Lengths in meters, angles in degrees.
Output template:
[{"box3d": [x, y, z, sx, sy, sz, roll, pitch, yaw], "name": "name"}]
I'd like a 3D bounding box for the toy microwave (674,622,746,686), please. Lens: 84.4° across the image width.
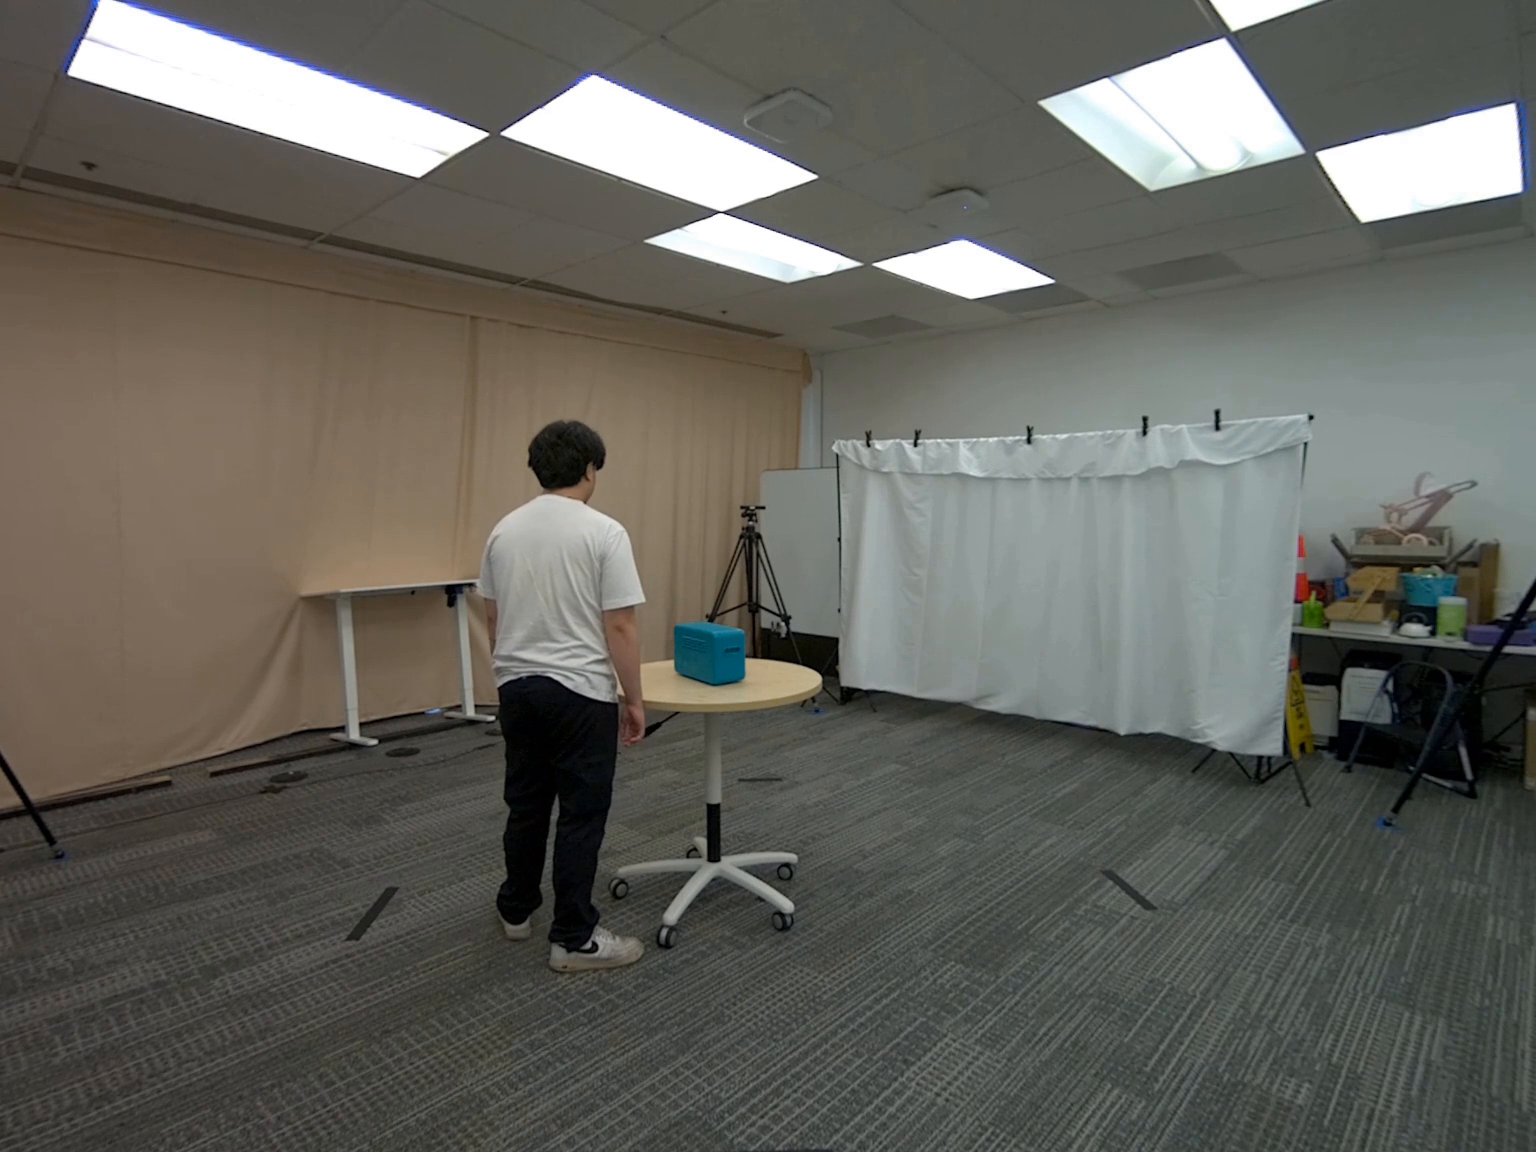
[{"box3d": [-0.198, 0.265, 2.937, 0.148, 0.184, 0.295, -3, 4, -34], "name": "toy microwave"}]
